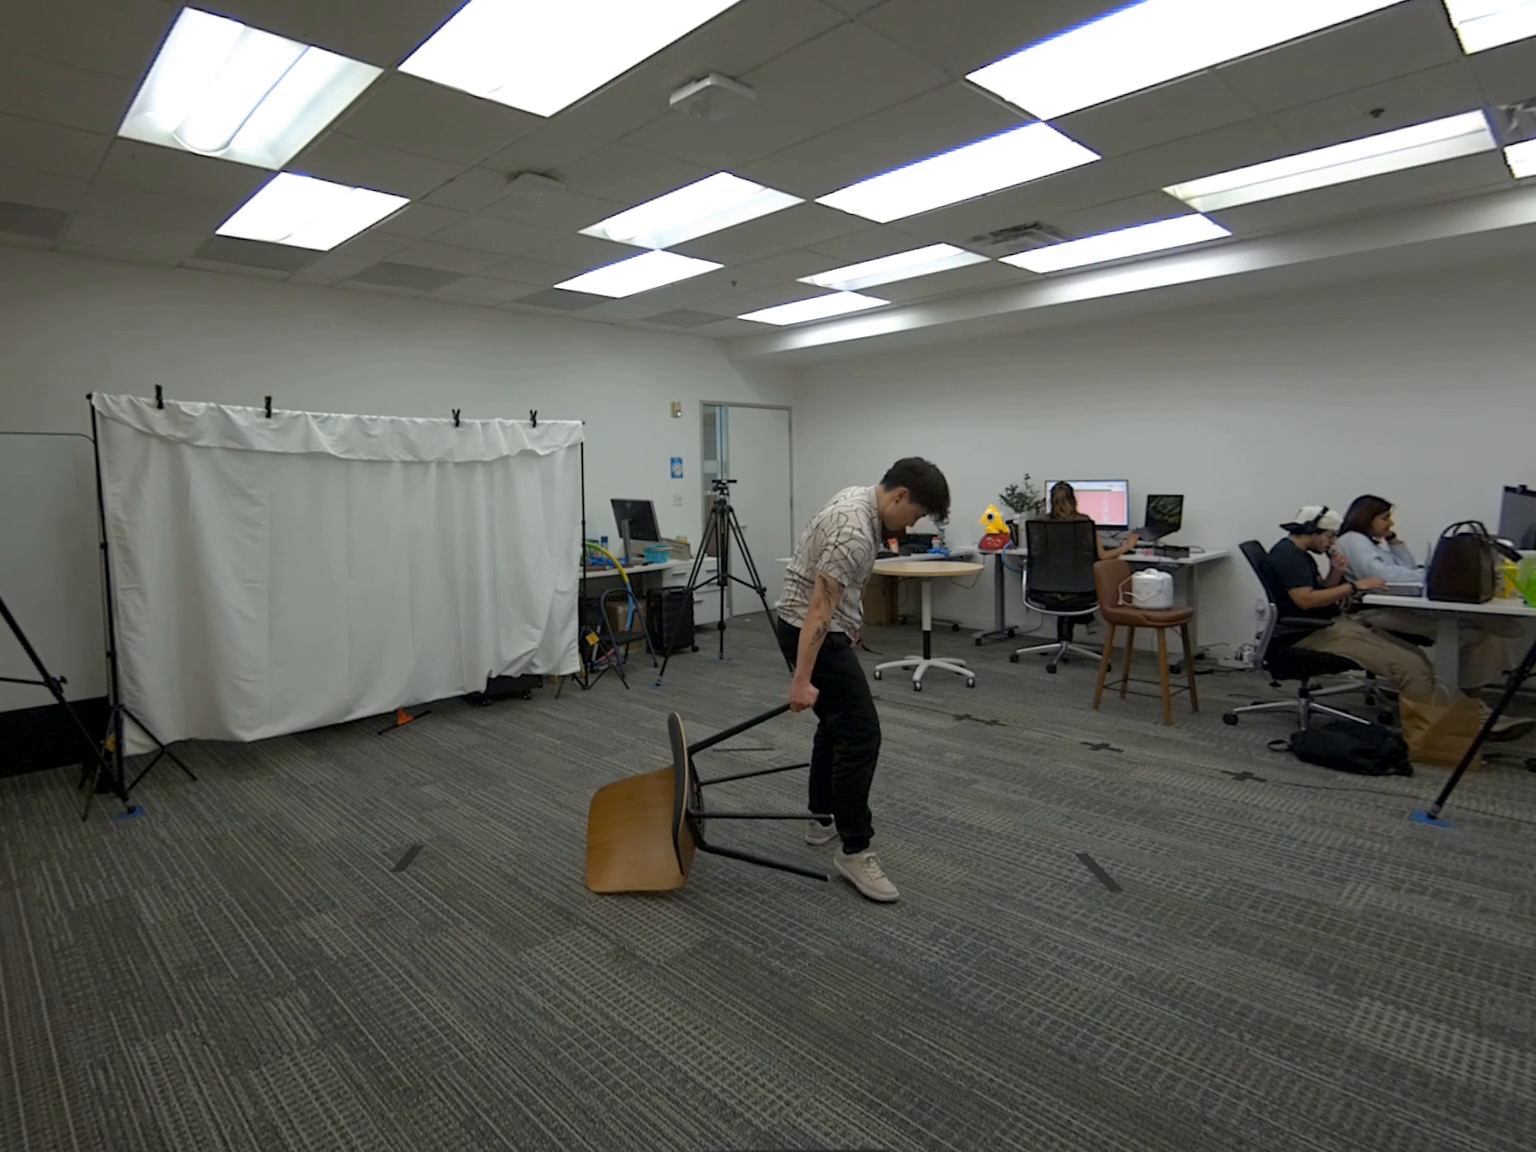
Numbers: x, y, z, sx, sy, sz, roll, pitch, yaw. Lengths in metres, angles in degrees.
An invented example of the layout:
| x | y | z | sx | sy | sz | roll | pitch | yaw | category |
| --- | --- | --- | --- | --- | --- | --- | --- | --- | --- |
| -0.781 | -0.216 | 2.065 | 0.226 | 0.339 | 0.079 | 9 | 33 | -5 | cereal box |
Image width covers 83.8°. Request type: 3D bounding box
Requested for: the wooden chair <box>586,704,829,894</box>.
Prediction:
| x | y | z | sx | sy | sz | roll | pitch | yaw | category |
| --- | --- | --- | --- | --- | --- | --- | --- | --- | --- |
| -0.248 | 0.759 | 2.882 | 0.879 | 0.506 | 0.492 | -8 | 46 | 3 | wooden chair |
